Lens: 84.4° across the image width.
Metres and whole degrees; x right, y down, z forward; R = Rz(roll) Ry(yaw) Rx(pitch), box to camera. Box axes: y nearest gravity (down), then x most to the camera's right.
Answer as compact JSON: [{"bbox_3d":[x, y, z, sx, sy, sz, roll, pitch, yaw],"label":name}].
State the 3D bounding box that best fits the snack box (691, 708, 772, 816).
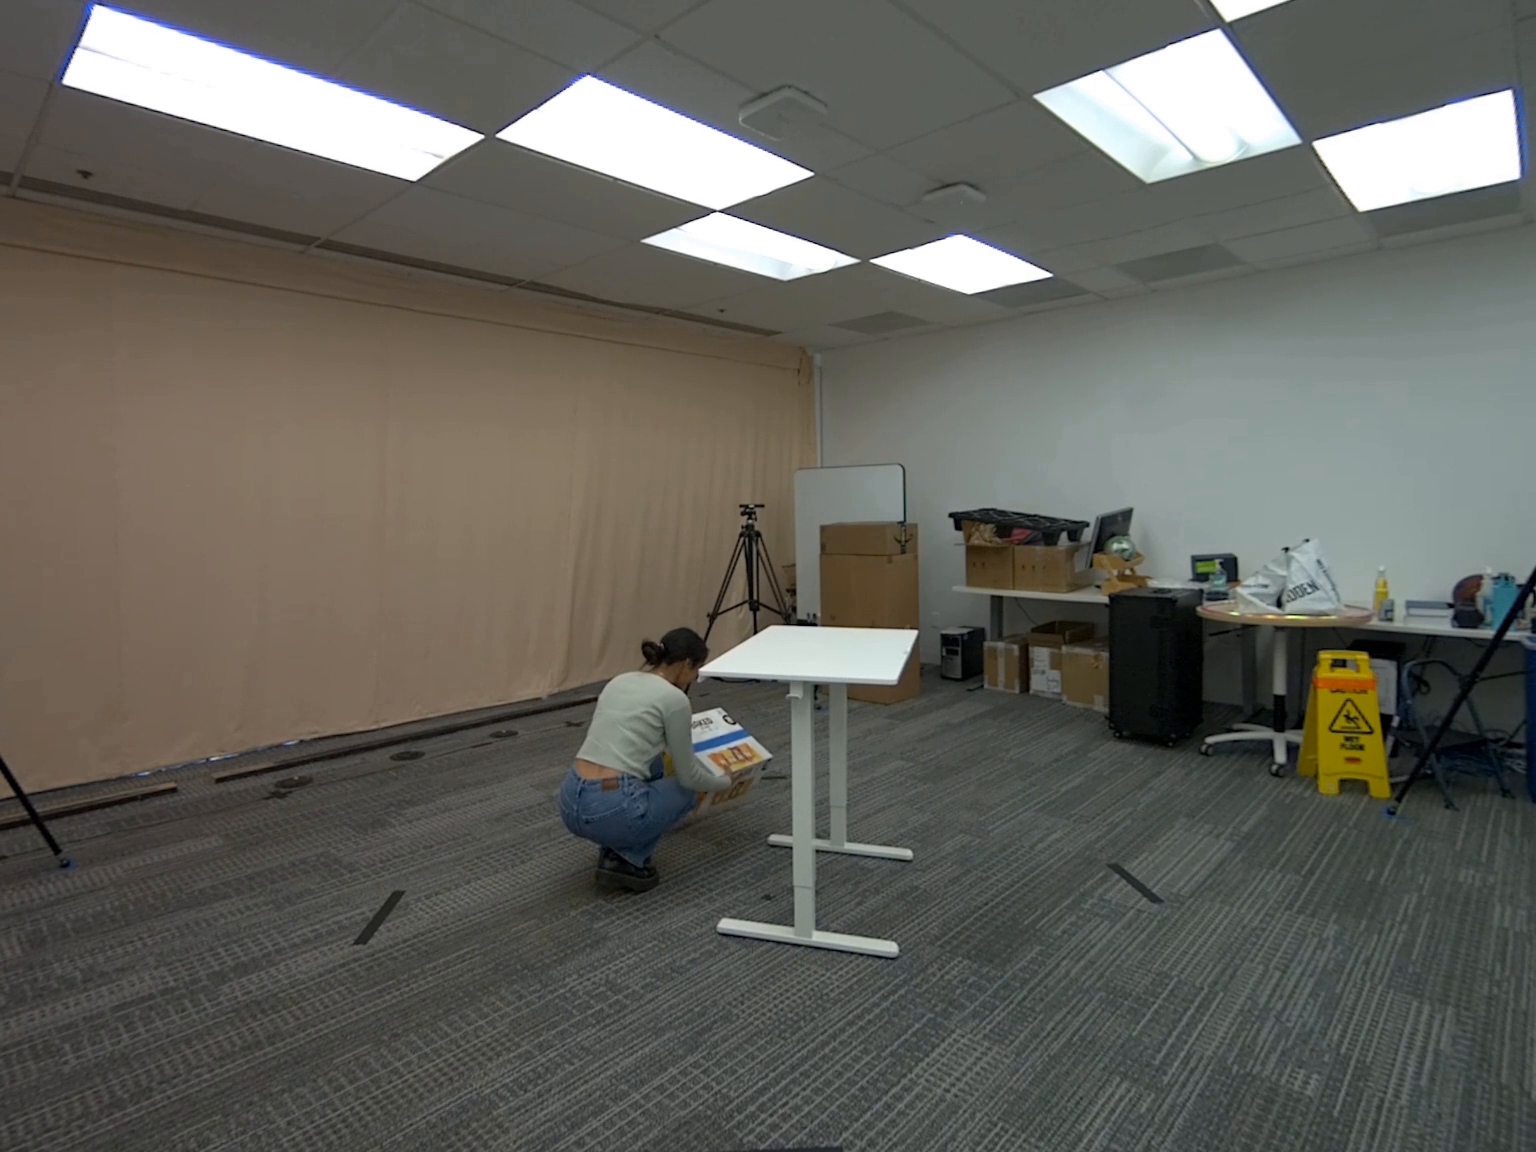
[{"bbox_3d":[-0.255,0.781,3.595,0.351,0.205,0.393,37,22,29],"label":"snack box"}]
